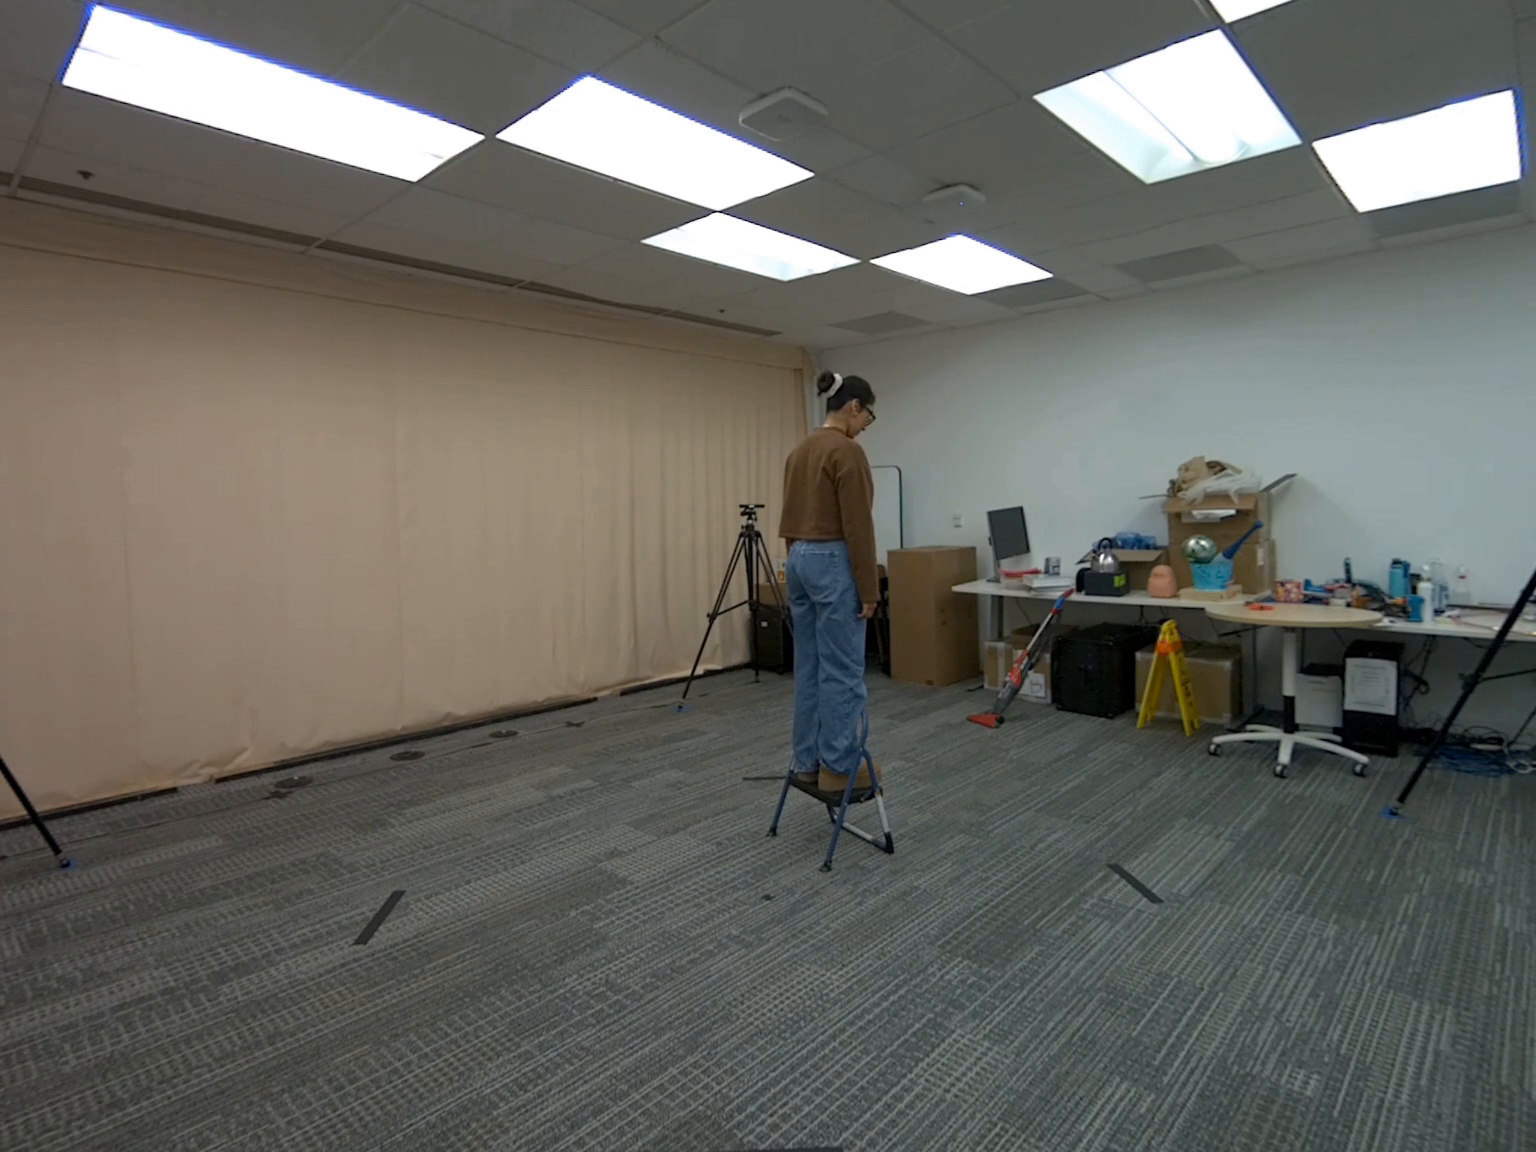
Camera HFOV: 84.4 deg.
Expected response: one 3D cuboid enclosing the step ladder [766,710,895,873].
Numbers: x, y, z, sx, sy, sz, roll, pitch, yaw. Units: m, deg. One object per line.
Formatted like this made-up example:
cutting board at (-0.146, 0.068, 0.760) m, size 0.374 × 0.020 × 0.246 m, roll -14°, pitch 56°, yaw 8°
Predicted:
step ladder at (0.255, 0.794, 3.431) m, size 0.340 × 0.605 × 0.443 m, roll -2°, pitch 2°, yaw -30°
